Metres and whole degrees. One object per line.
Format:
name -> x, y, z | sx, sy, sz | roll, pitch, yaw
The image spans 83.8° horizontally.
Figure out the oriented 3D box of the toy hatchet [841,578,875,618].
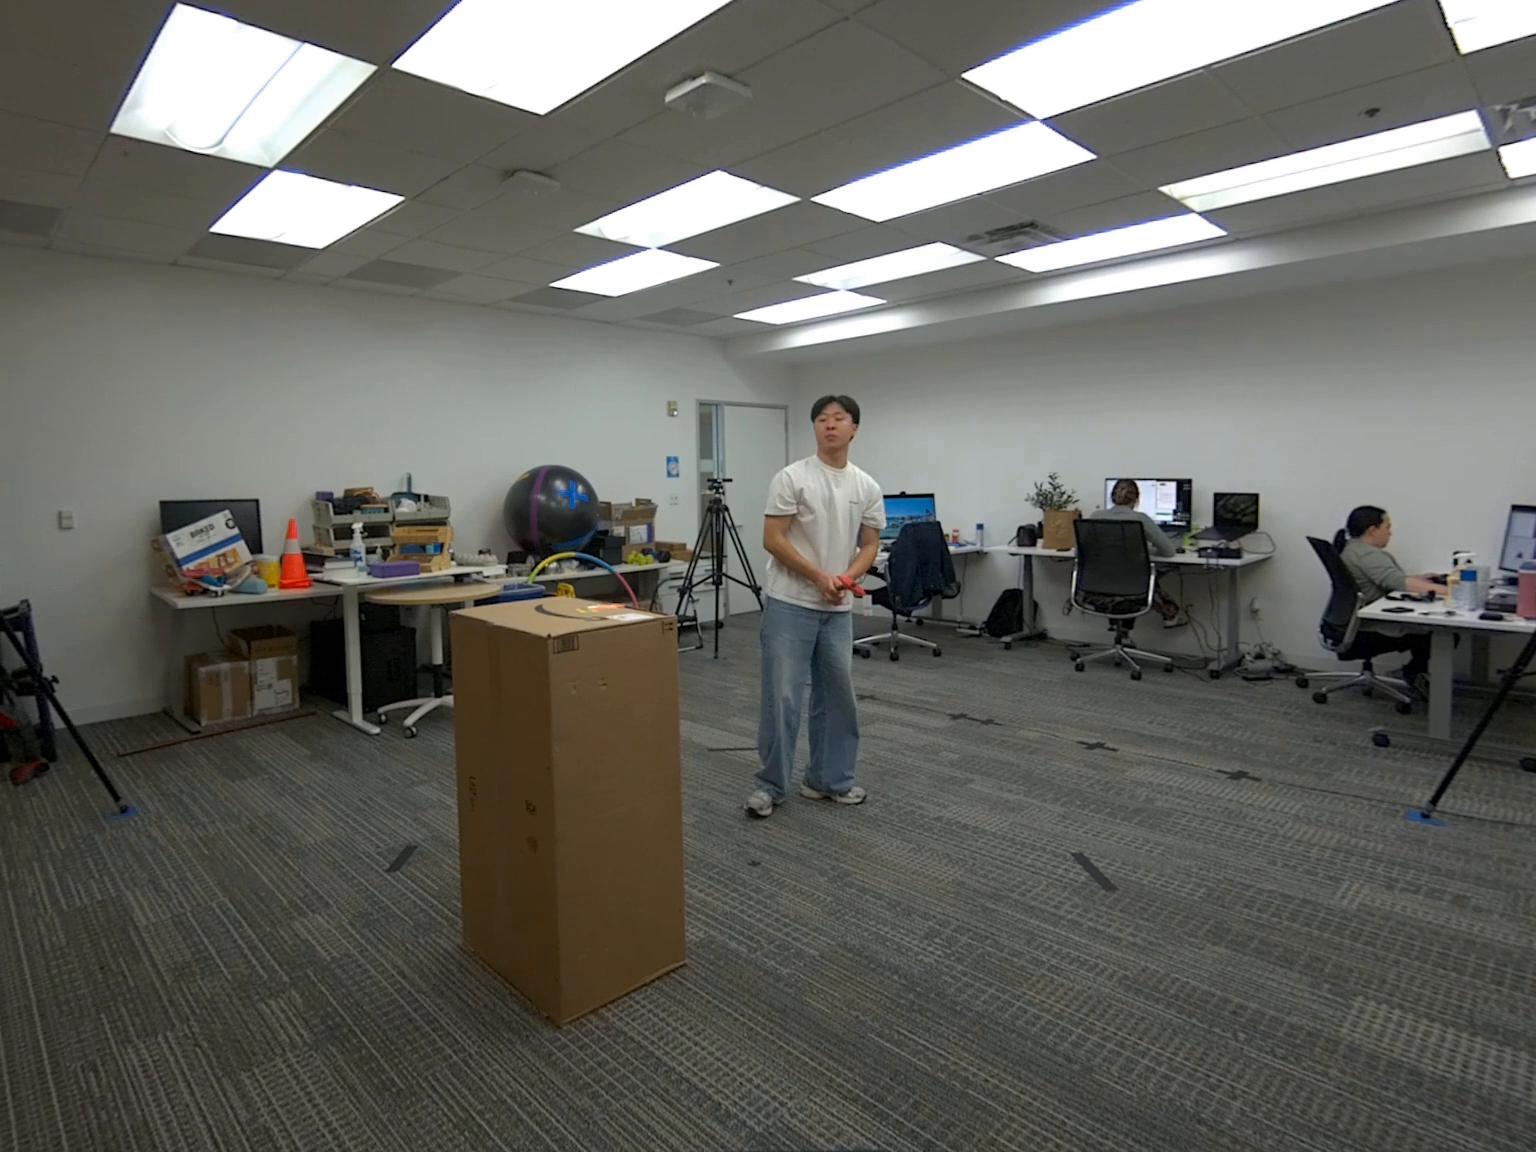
toy hatchet -> 0.323, 0.081, 3.376 | 0.132, 0.030, 0.267 | 29, -19, 4
